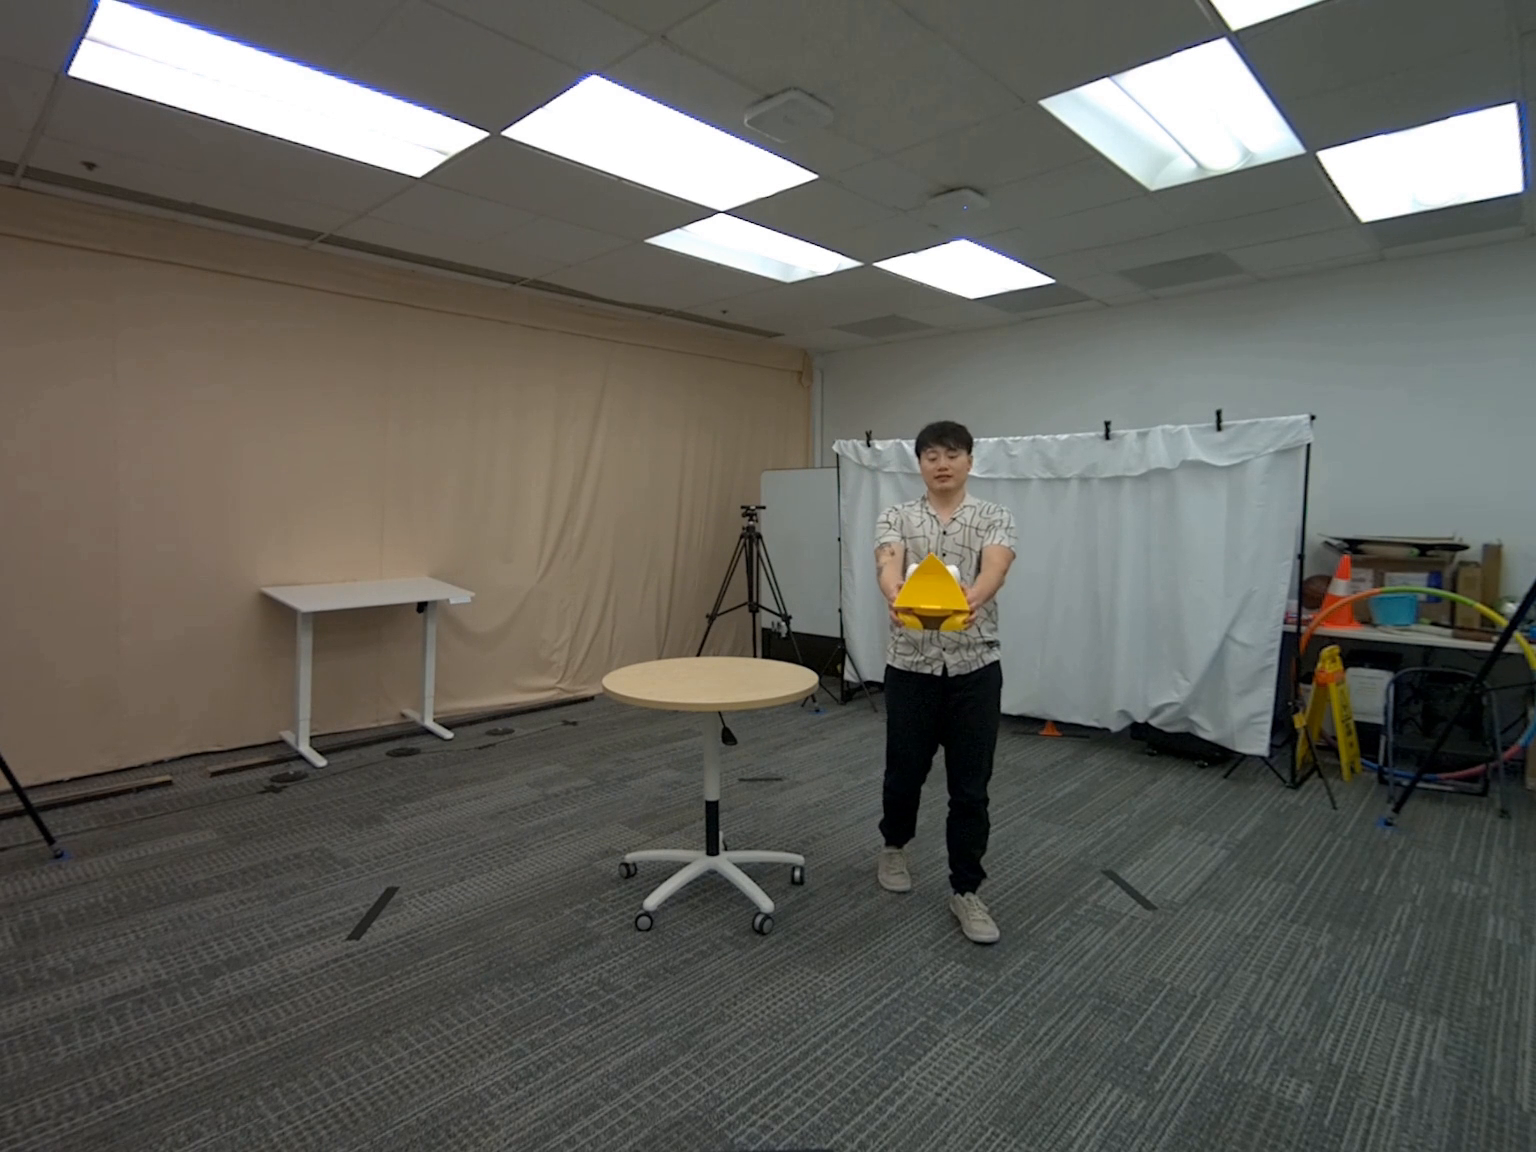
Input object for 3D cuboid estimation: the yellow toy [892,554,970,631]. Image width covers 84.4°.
[{"bbox_3d":[0.467,0.021,2.364,0.208,0.227,0.193,2,24,16],"label":"yellow toy"}]
